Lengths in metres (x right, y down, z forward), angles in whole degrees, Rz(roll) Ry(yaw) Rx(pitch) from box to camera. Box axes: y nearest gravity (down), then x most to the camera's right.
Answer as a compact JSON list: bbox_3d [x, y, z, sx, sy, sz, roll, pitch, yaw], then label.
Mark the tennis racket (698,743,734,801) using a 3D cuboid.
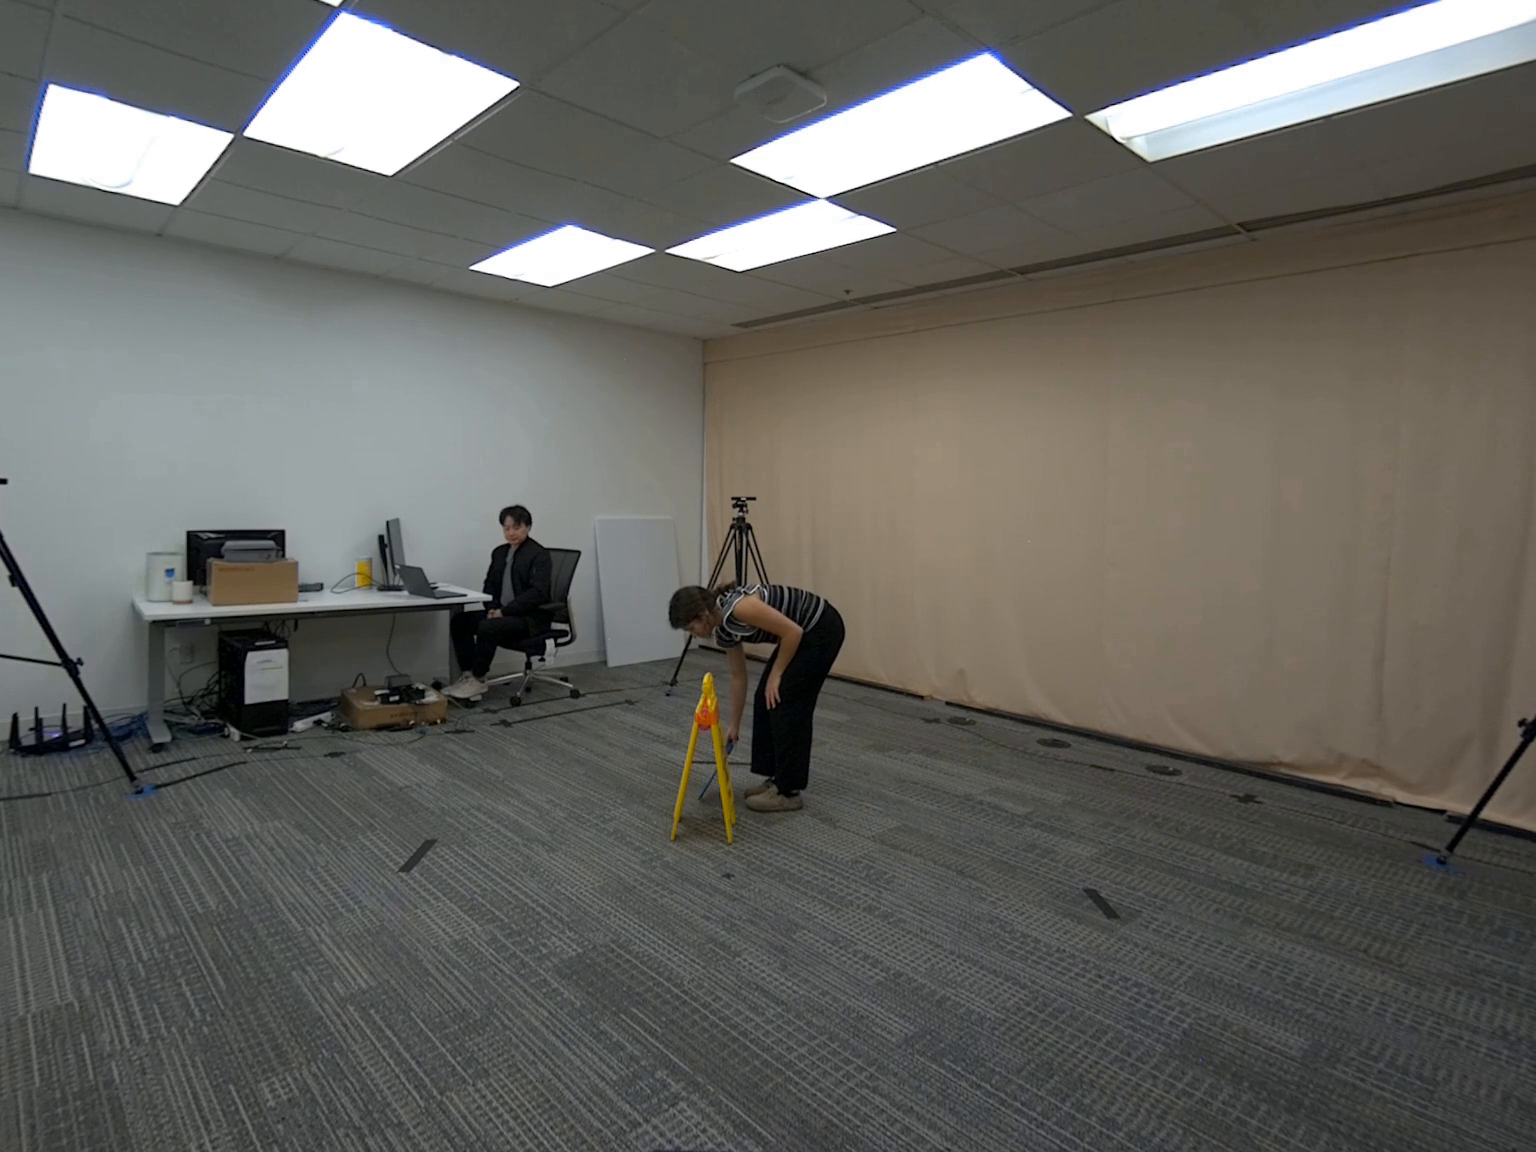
[{"bbox_3d":[-0.230,0.893,3.945,0.032,0.212,0.434,33,33,1],"label":"tennis racket"}]
